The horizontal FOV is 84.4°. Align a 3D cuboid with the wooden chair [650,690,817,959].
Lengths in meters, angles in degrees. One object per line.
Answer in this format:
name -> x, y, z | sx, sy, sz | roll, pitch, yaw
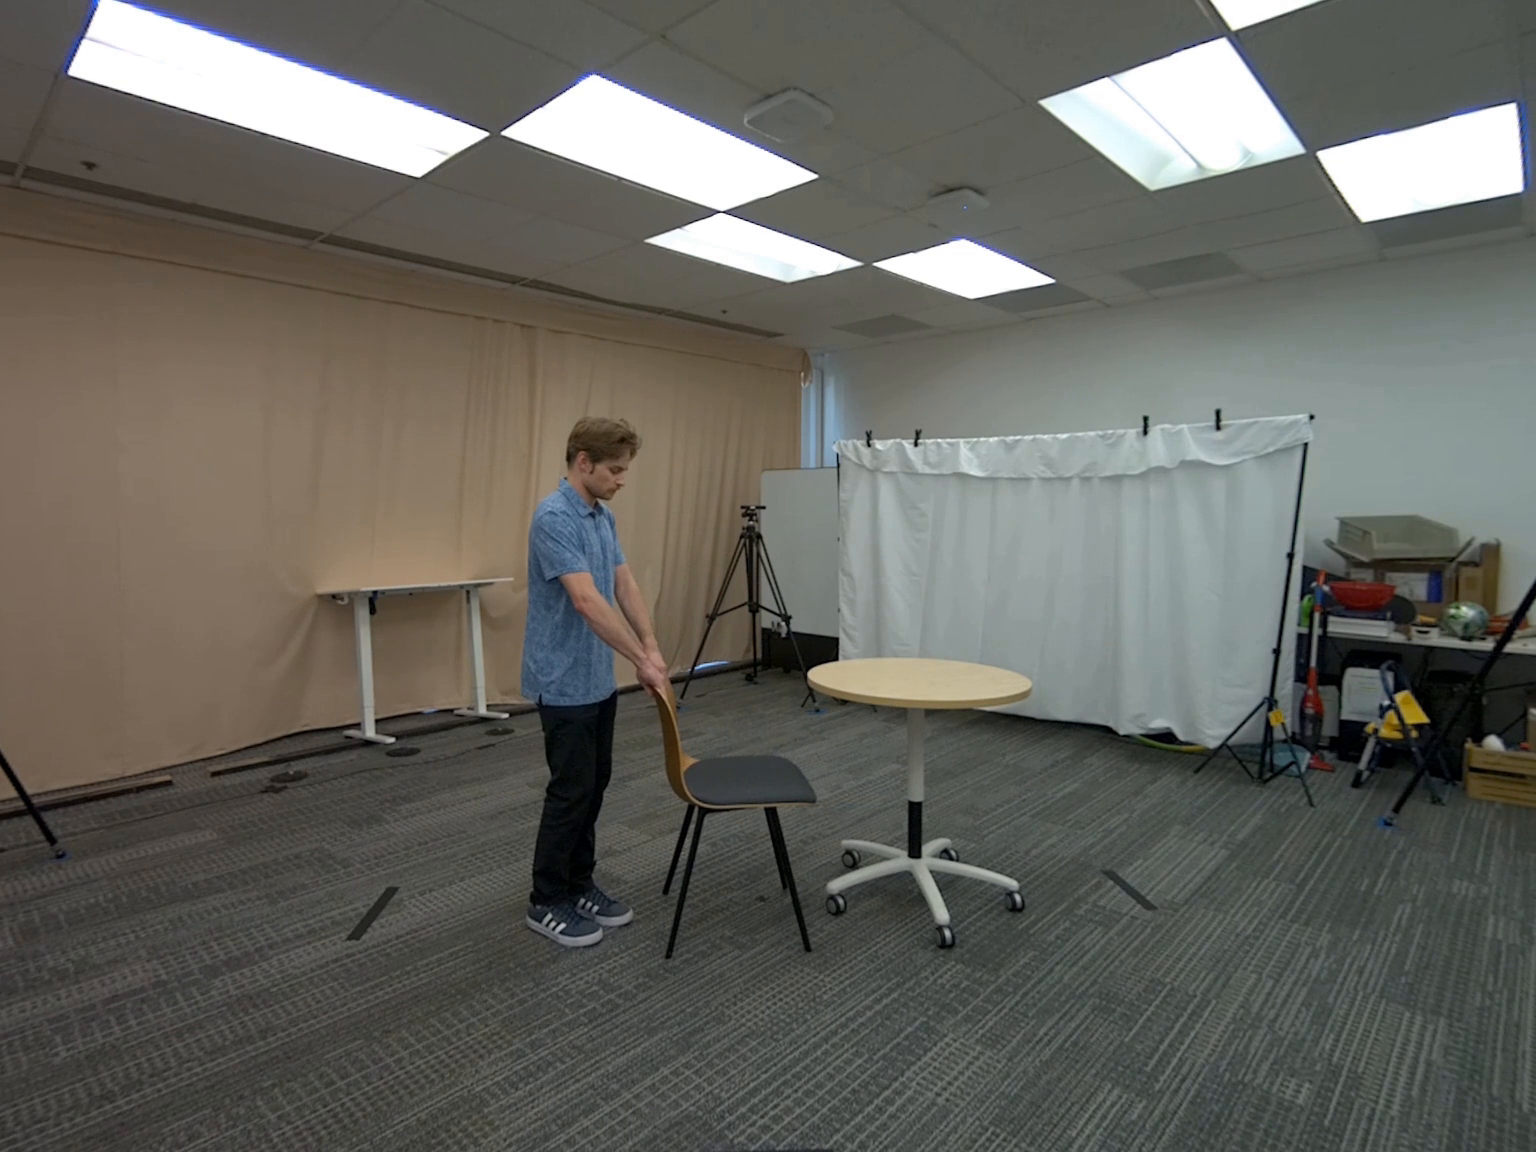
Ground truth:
wooden chair -> -0.109, 0.731, 2.799 | 0.519, 0.875, 0.482 | -5, 3, -8
